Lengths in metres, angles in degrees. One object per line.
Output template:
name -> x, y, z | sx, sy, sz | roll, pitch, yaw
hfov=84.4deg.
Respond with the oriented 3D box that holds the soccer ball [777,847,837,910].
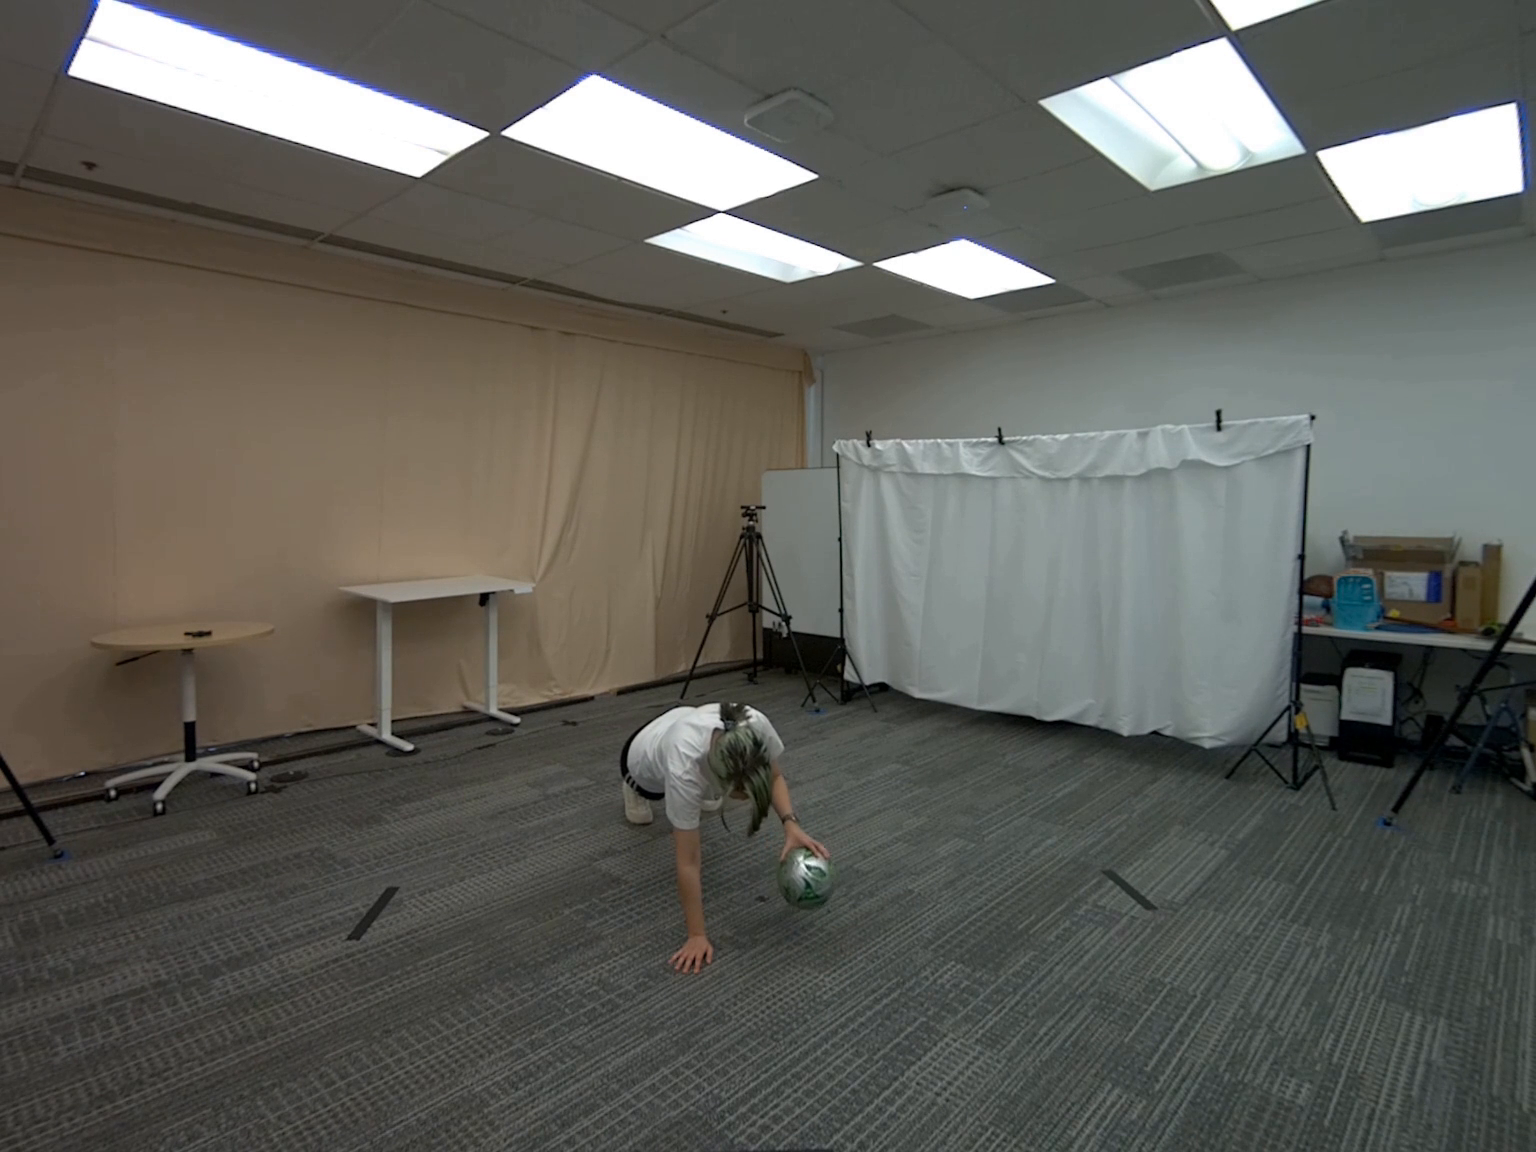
soccer ball -> 0.106, 0.962, 2.654 | 0.187, 0.187, 0.188 | 0, 4, -2
